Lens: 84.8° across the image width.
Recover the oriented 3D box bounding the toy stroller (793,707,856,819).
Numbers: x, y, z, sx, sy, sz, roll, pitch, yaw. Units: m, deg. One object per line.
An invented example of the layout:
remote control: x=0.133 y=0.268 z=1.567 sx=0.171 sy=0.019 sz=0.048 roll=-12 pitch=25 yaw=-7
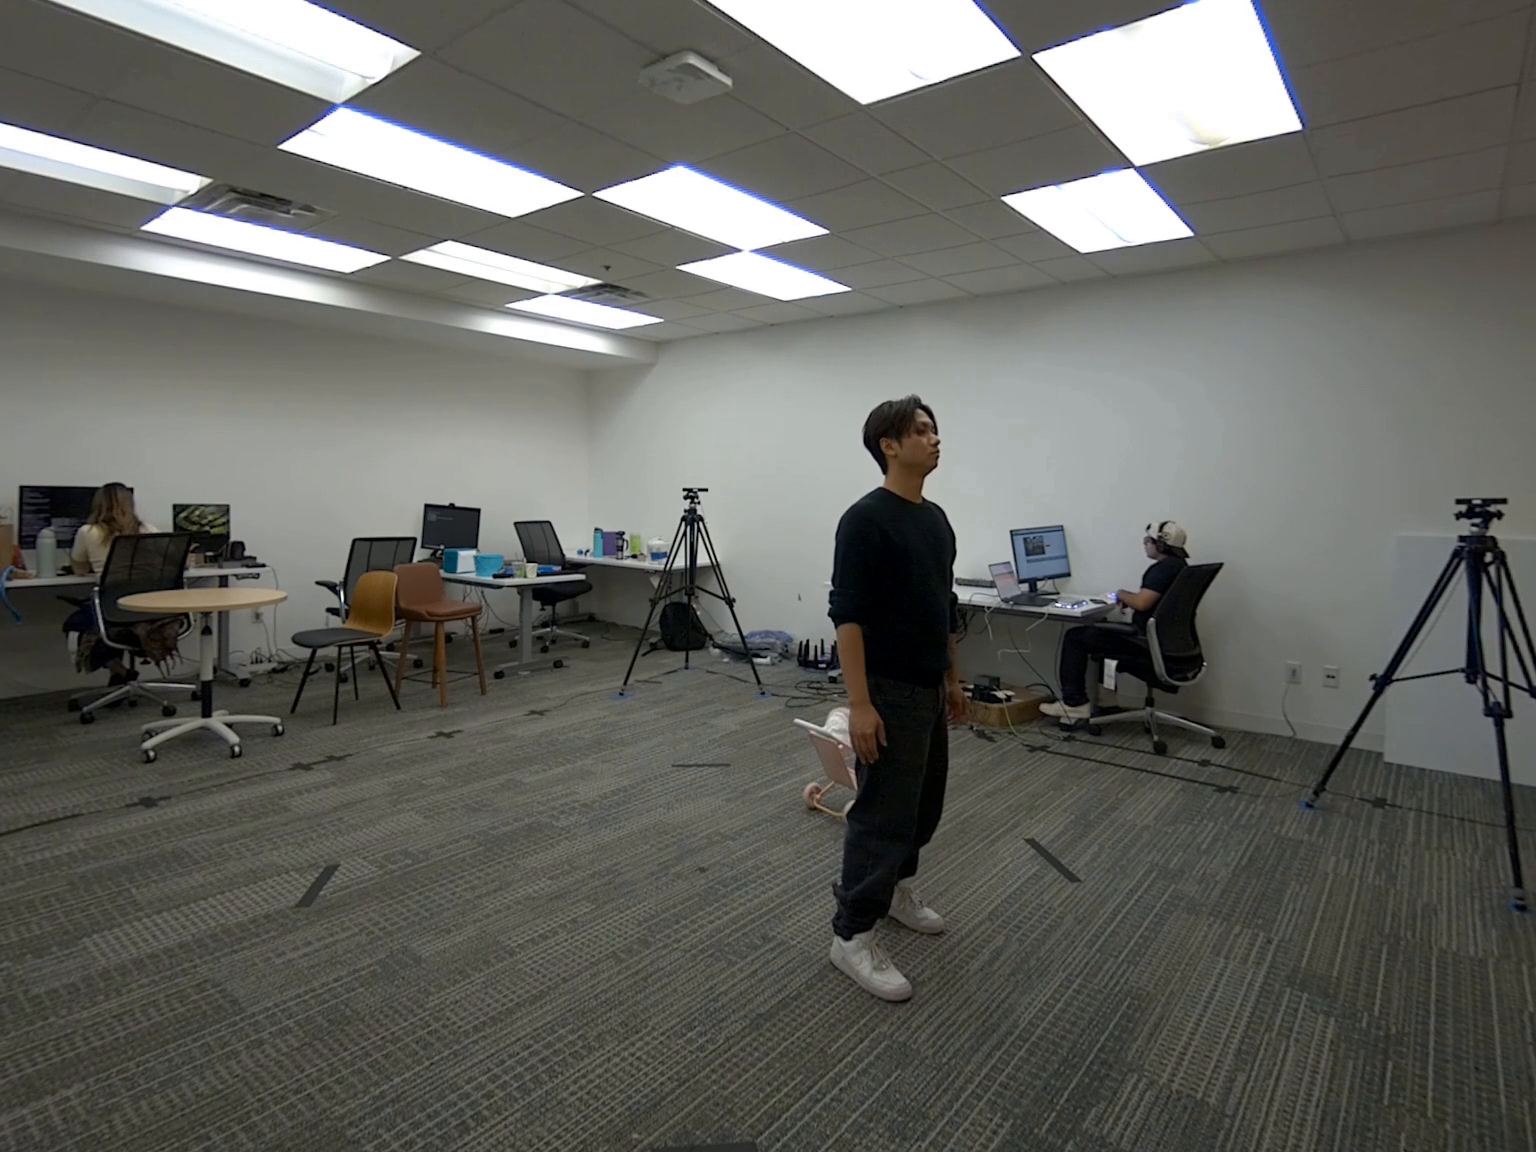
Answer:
toy stroller: x=0.320 y=0.799 z=3.666 sx=0.335 sy=0.527 sz=0.290 roll=-21 pitch=15 yaw=-30
